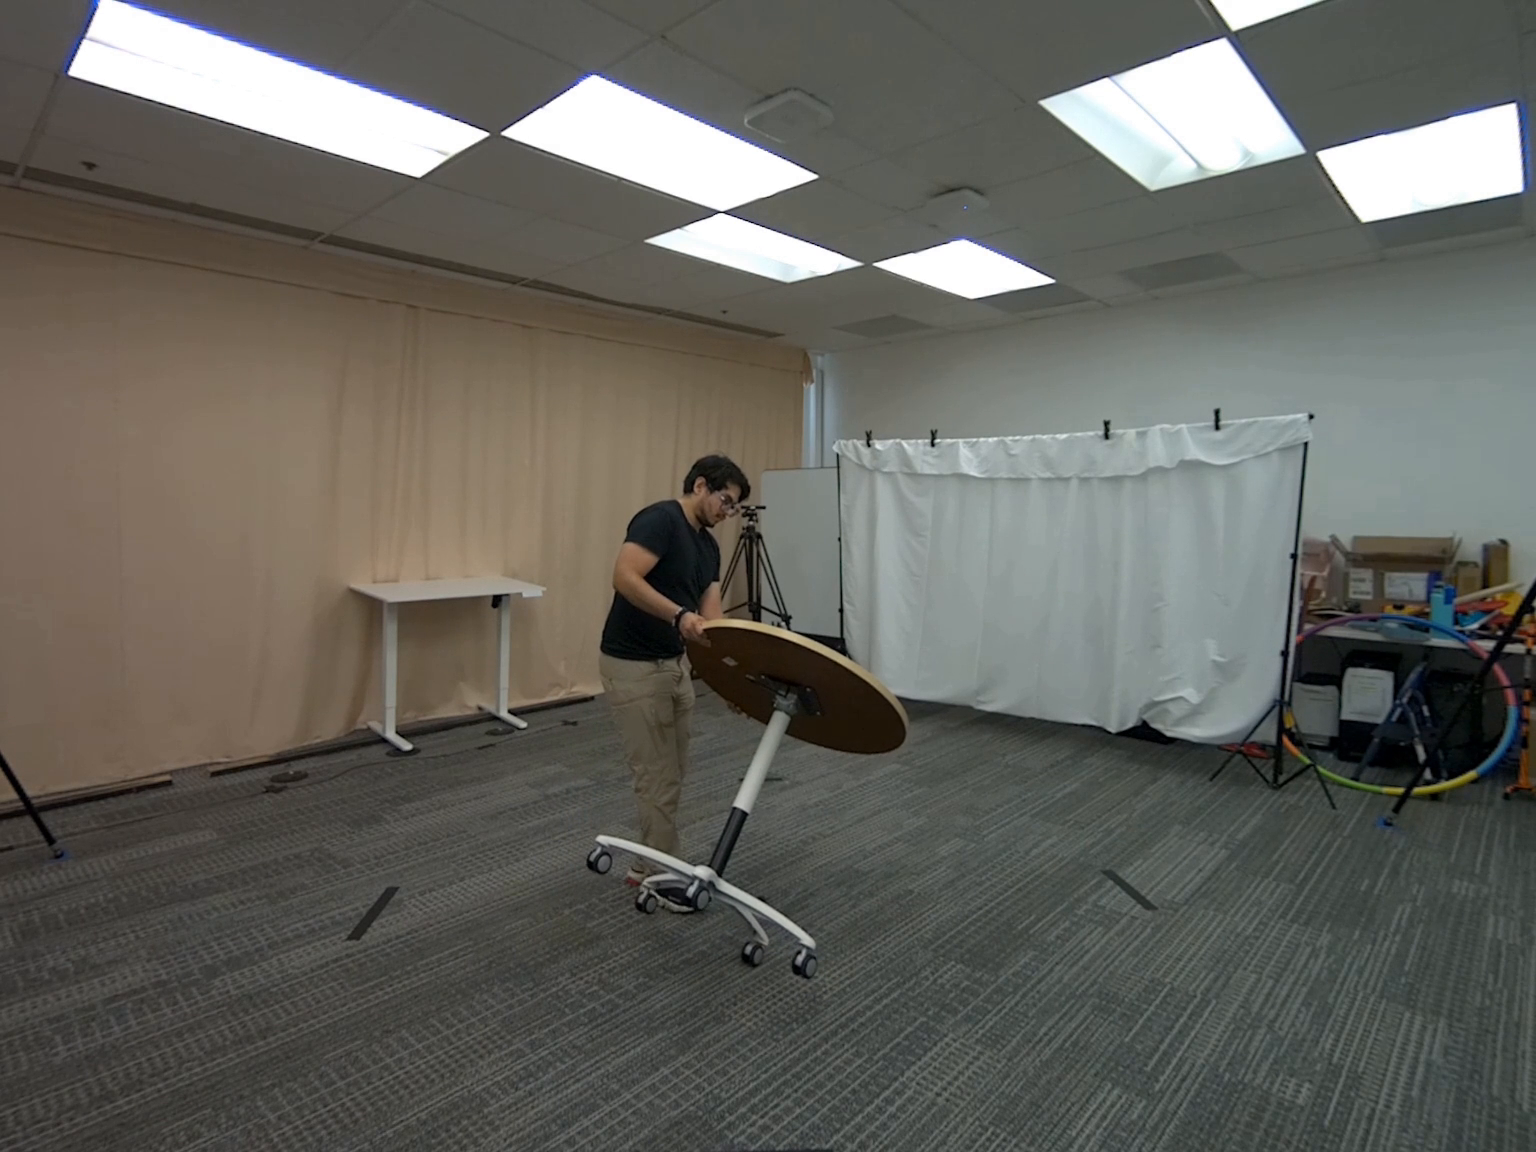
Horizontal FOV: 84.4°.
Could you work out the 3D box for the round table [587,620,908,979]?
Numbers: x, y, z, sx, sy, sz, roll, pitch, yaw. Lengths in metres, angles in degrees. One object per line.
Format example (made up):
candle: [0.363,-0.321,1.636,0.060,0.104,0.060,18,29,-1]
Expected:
round table: [-0.063,0.668,2.550,0.796,0.788,0.773,21,-29,10]
